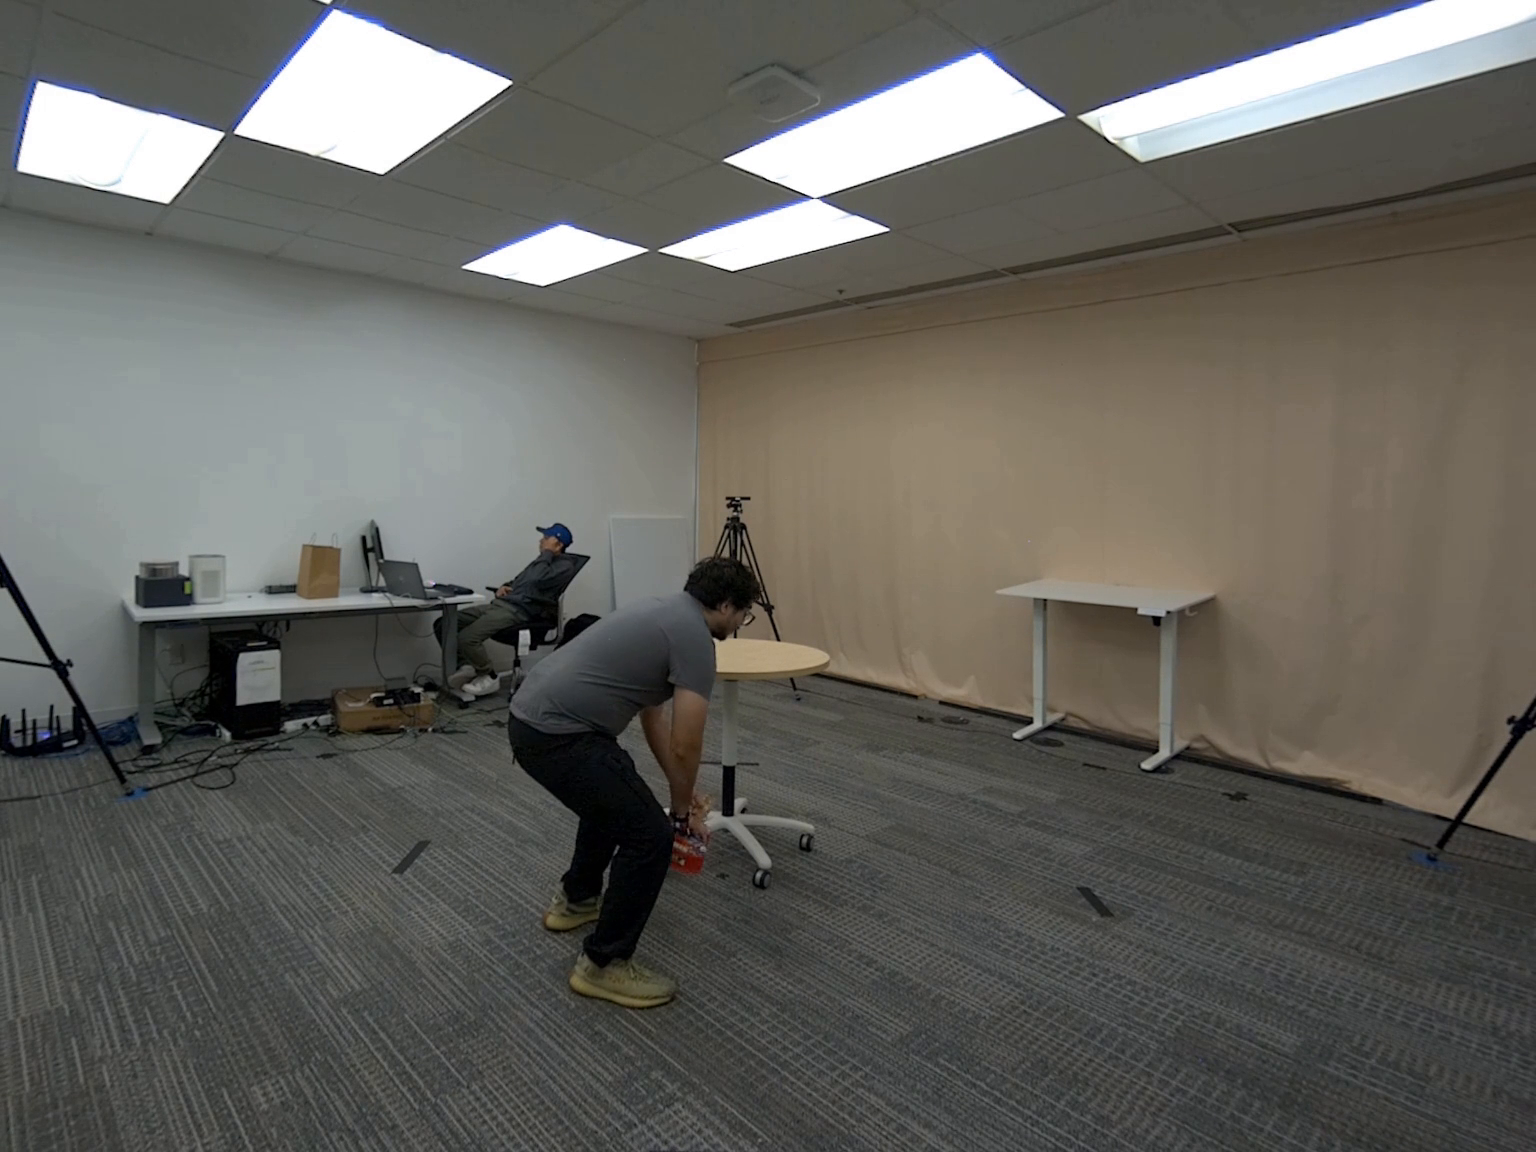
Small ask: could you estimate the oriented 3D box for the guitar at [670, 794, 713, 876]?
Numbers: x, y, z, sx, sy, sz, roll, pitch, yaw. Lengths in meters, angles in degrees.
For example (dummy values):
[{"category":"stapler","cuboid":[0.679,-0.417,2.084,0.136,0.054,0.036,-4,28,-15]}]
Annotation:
[{"category":"guitar","cuboid":[-0.237,0.804,2.698,0.196,0.070,0.492,23,6,12]}]
